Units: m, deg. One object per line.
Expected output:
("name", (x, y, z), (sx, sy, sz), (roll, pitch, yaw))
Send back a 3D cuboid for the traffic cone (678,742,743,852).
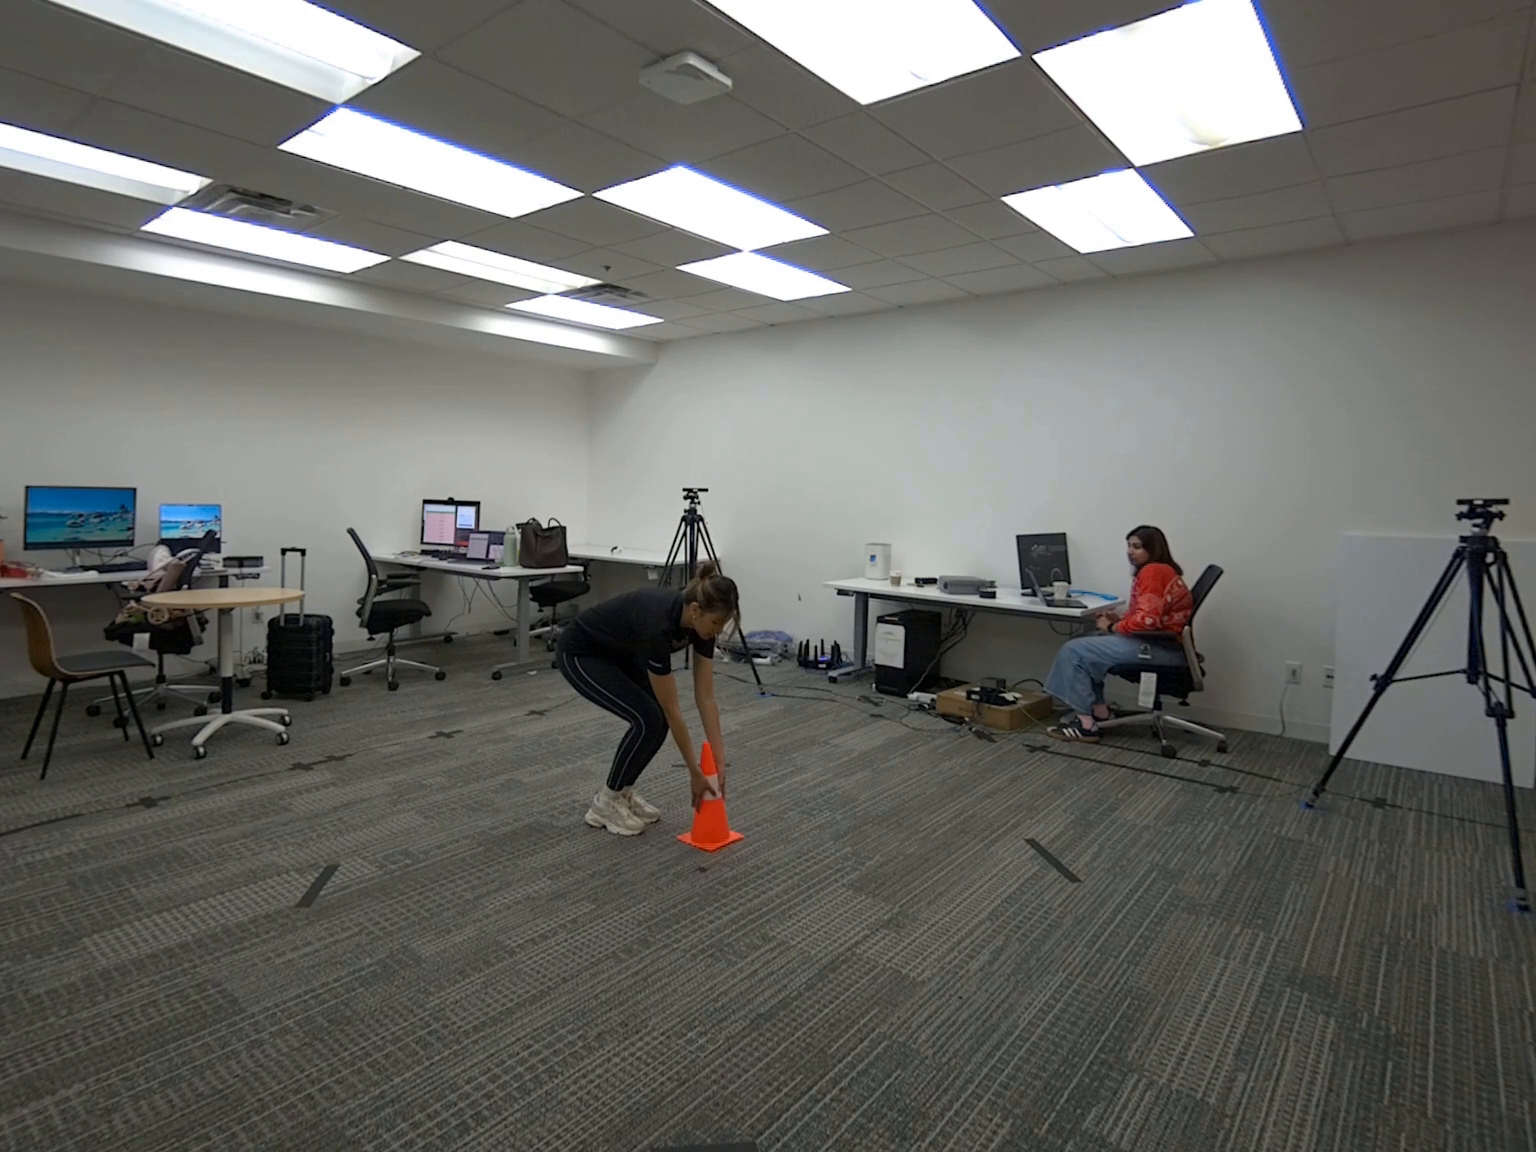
("traffic cone", (-0.245, 0.847, 3.385), (0.210, 0.383, 0.199), (-1, 2, 44))
